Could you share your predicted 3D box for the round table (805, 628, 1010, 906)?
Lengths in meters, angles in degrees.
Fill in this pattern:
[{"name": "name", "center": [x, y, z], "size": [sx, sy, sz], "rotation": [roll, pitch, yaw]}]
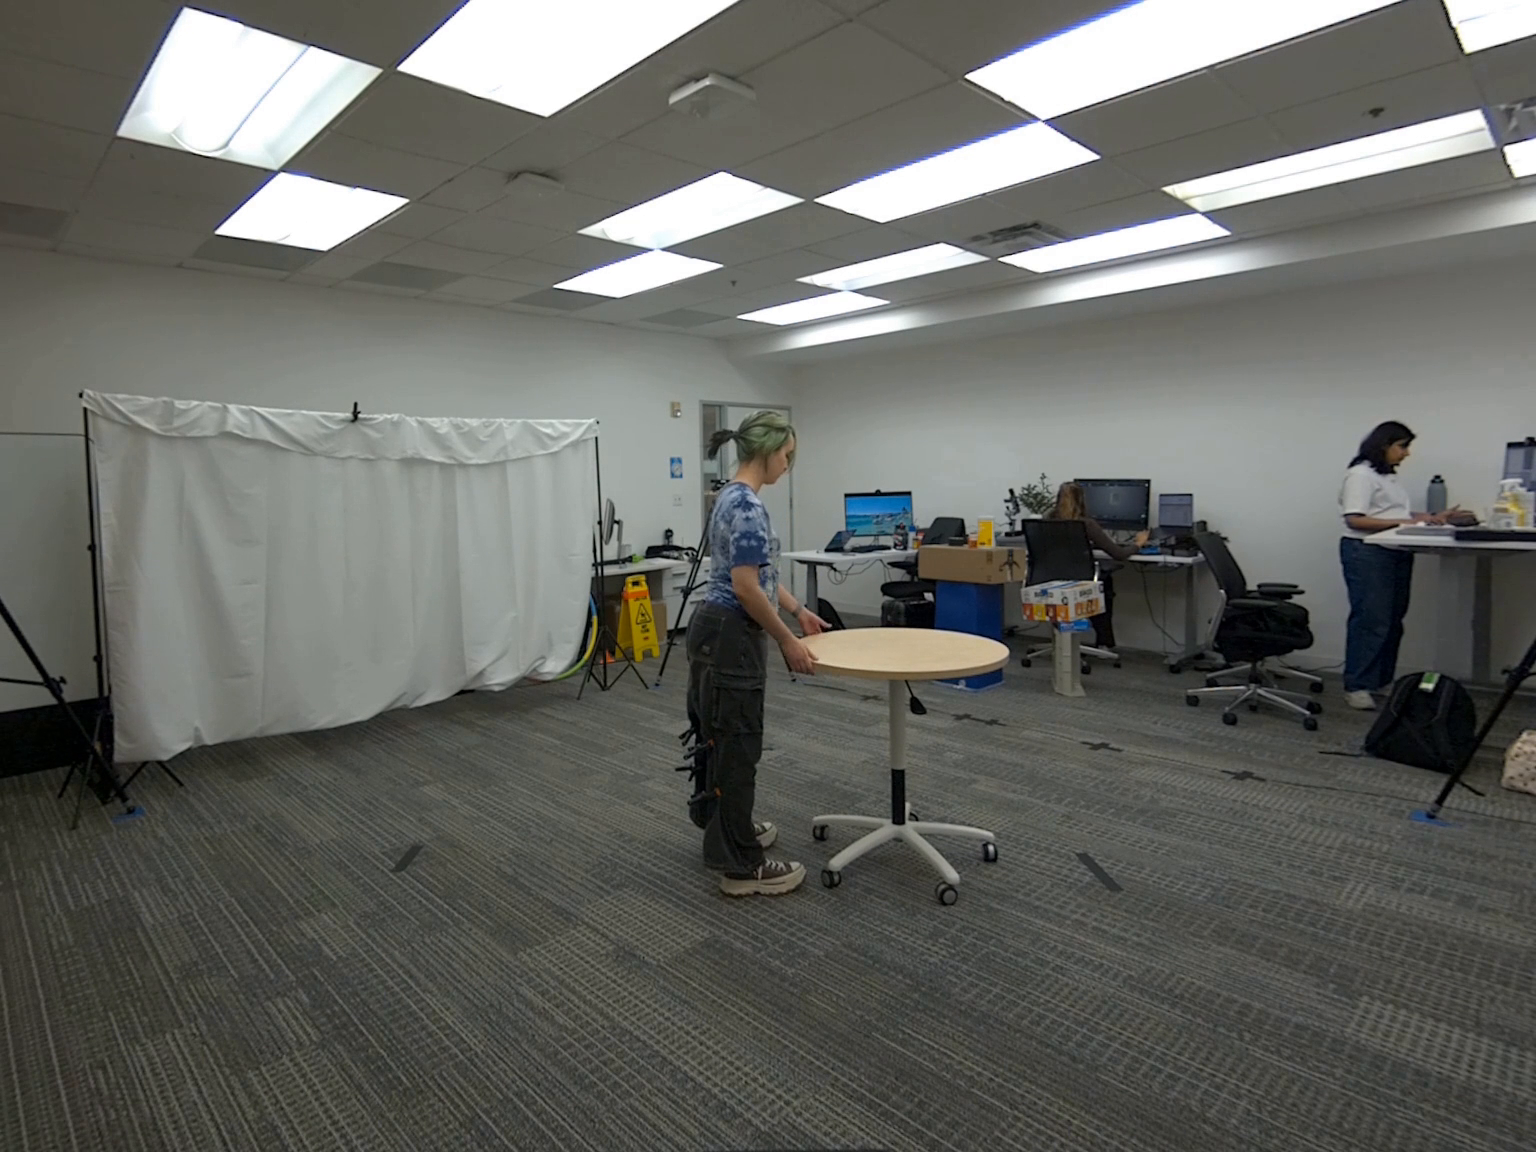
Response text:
[{"name": "round table", "center": [0.475, 0.647, 3.086], "size": [0.763, 0.791, 0.768], "rotation": [-1, 4, -2]}]
